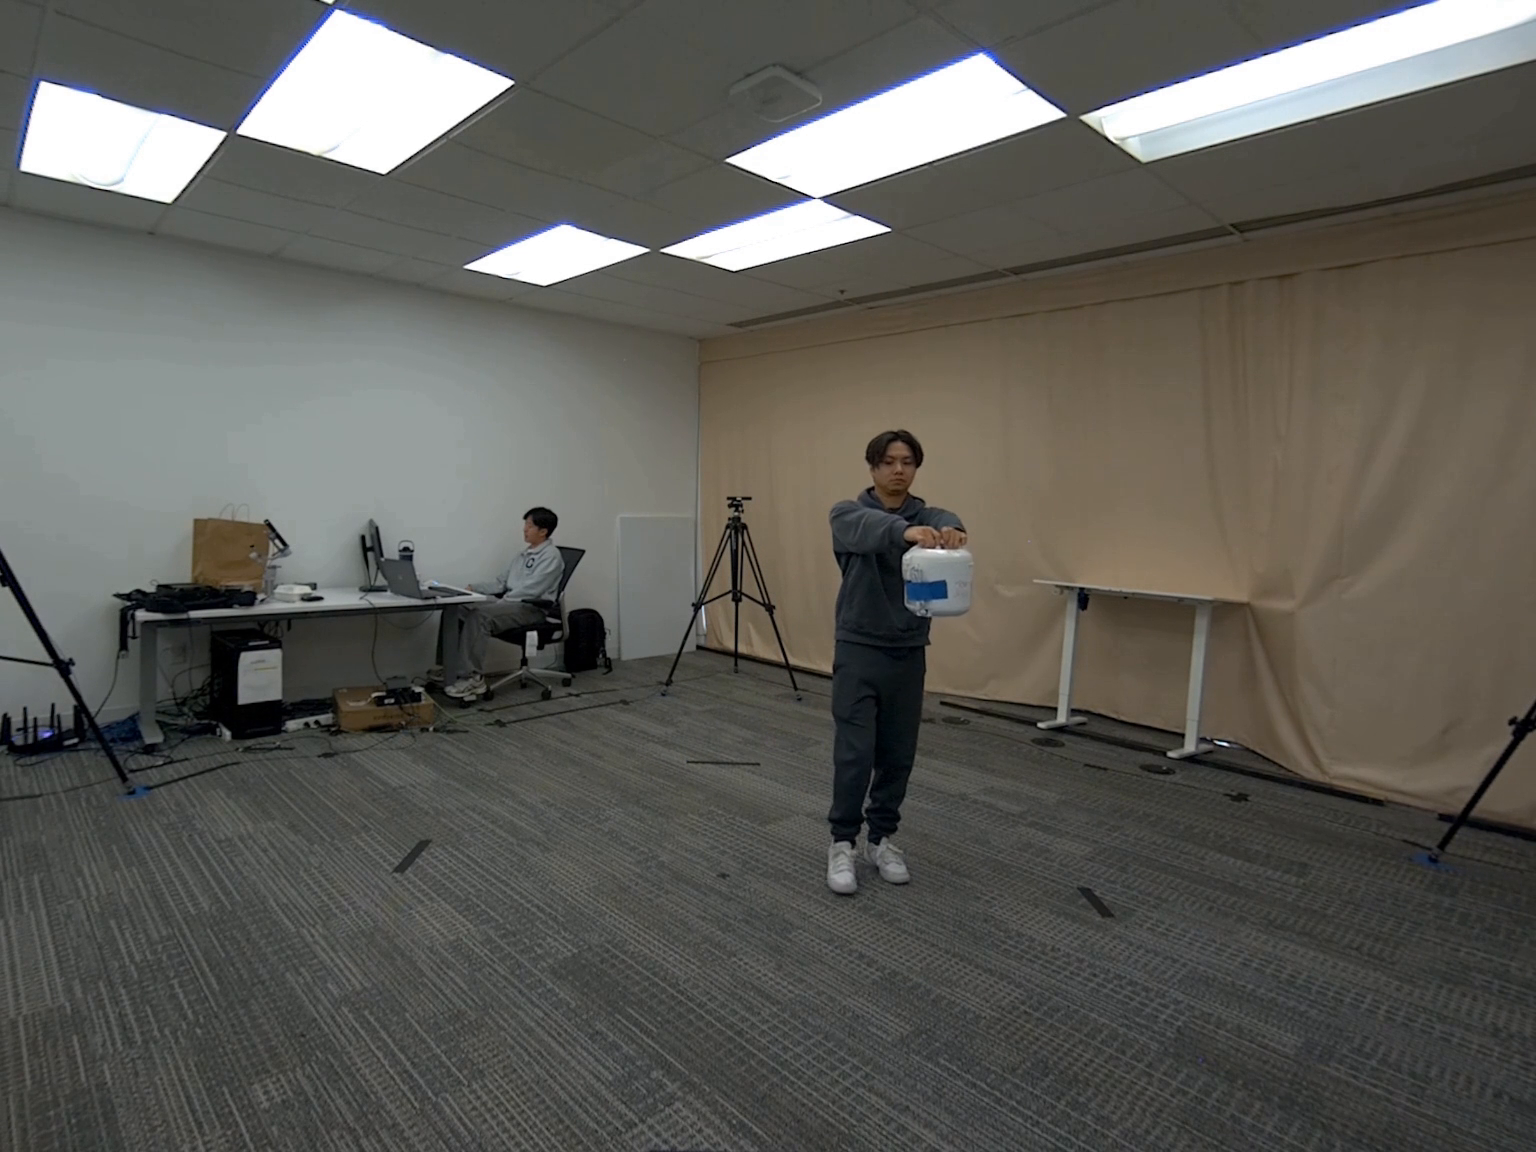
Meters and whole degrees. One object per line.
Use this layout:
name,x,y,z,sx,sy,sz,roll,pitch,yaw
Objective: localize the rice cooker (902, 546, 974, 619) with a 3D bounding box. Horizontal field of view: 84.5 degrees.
rice cooker,0.524,0.001,2.645,0.220,0.232,0.219,0,6,-4
